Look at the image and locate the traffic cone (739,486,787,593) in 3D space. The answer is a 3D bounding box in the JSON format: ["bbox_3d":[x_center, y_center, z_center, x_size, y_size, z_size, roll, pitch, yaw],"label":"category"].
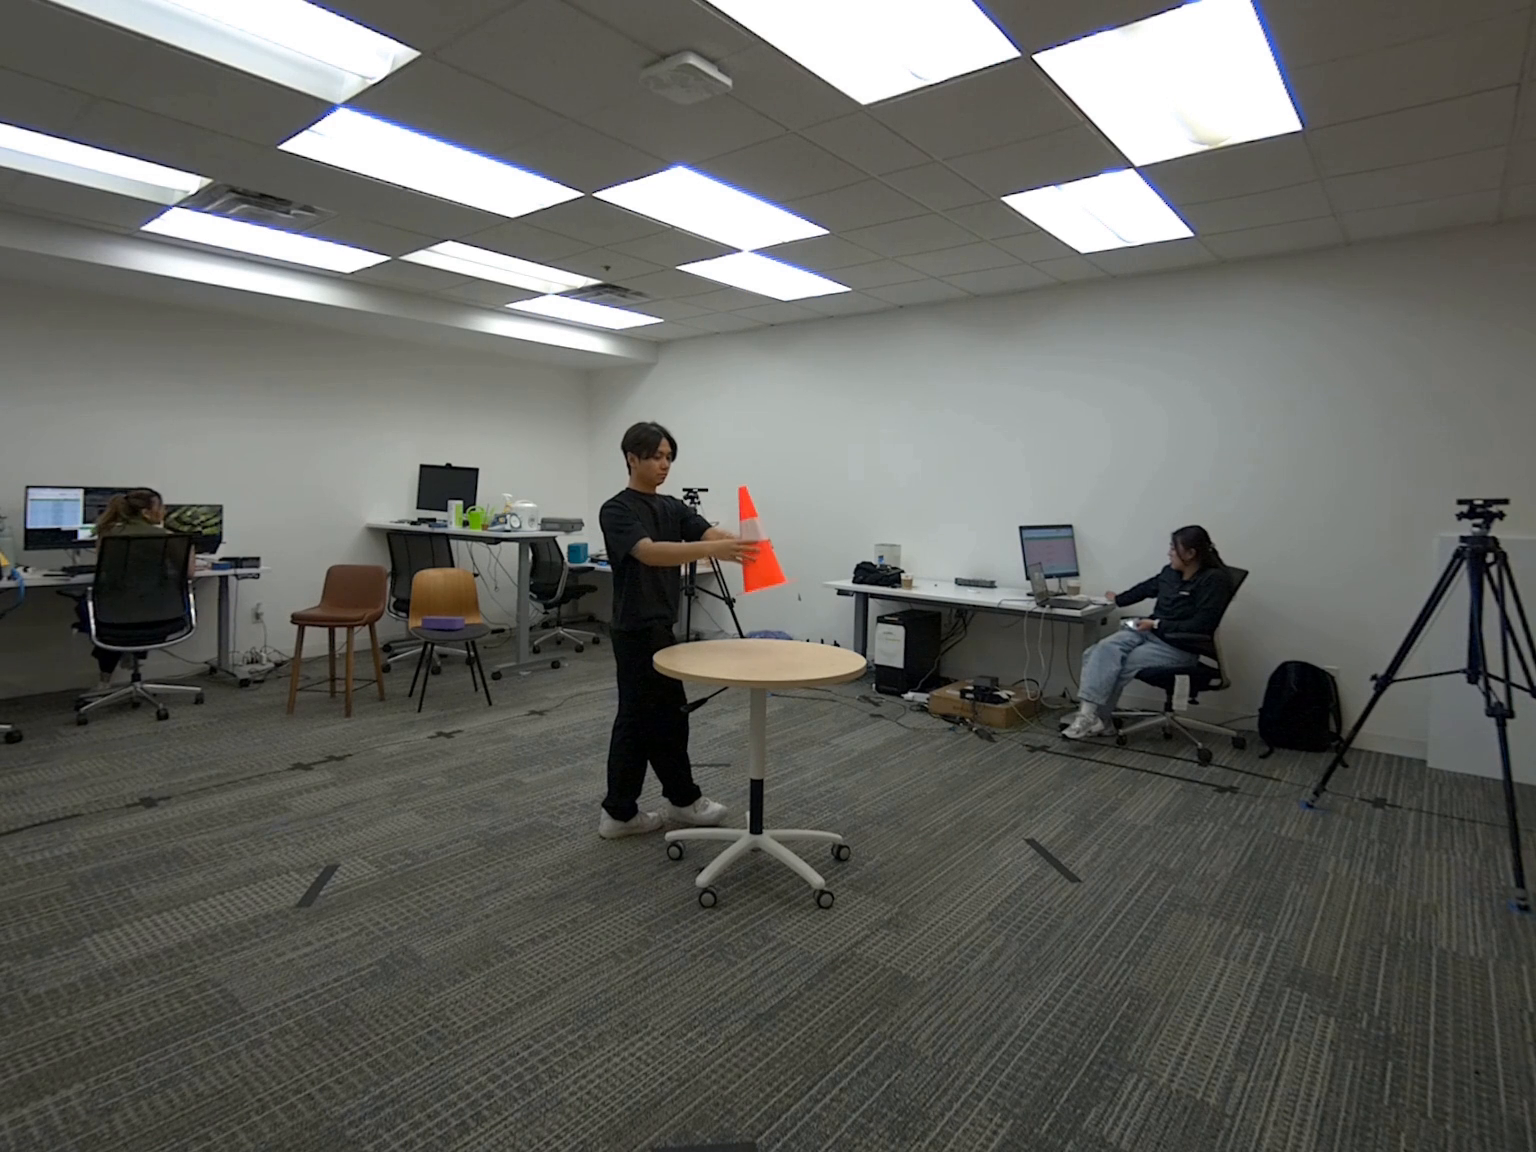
[{"bbox_3d":[-0.068,-0.151,3.104,0.201,0.385,0.207,-15,-2,-18],"label":"traffic cone"}]
